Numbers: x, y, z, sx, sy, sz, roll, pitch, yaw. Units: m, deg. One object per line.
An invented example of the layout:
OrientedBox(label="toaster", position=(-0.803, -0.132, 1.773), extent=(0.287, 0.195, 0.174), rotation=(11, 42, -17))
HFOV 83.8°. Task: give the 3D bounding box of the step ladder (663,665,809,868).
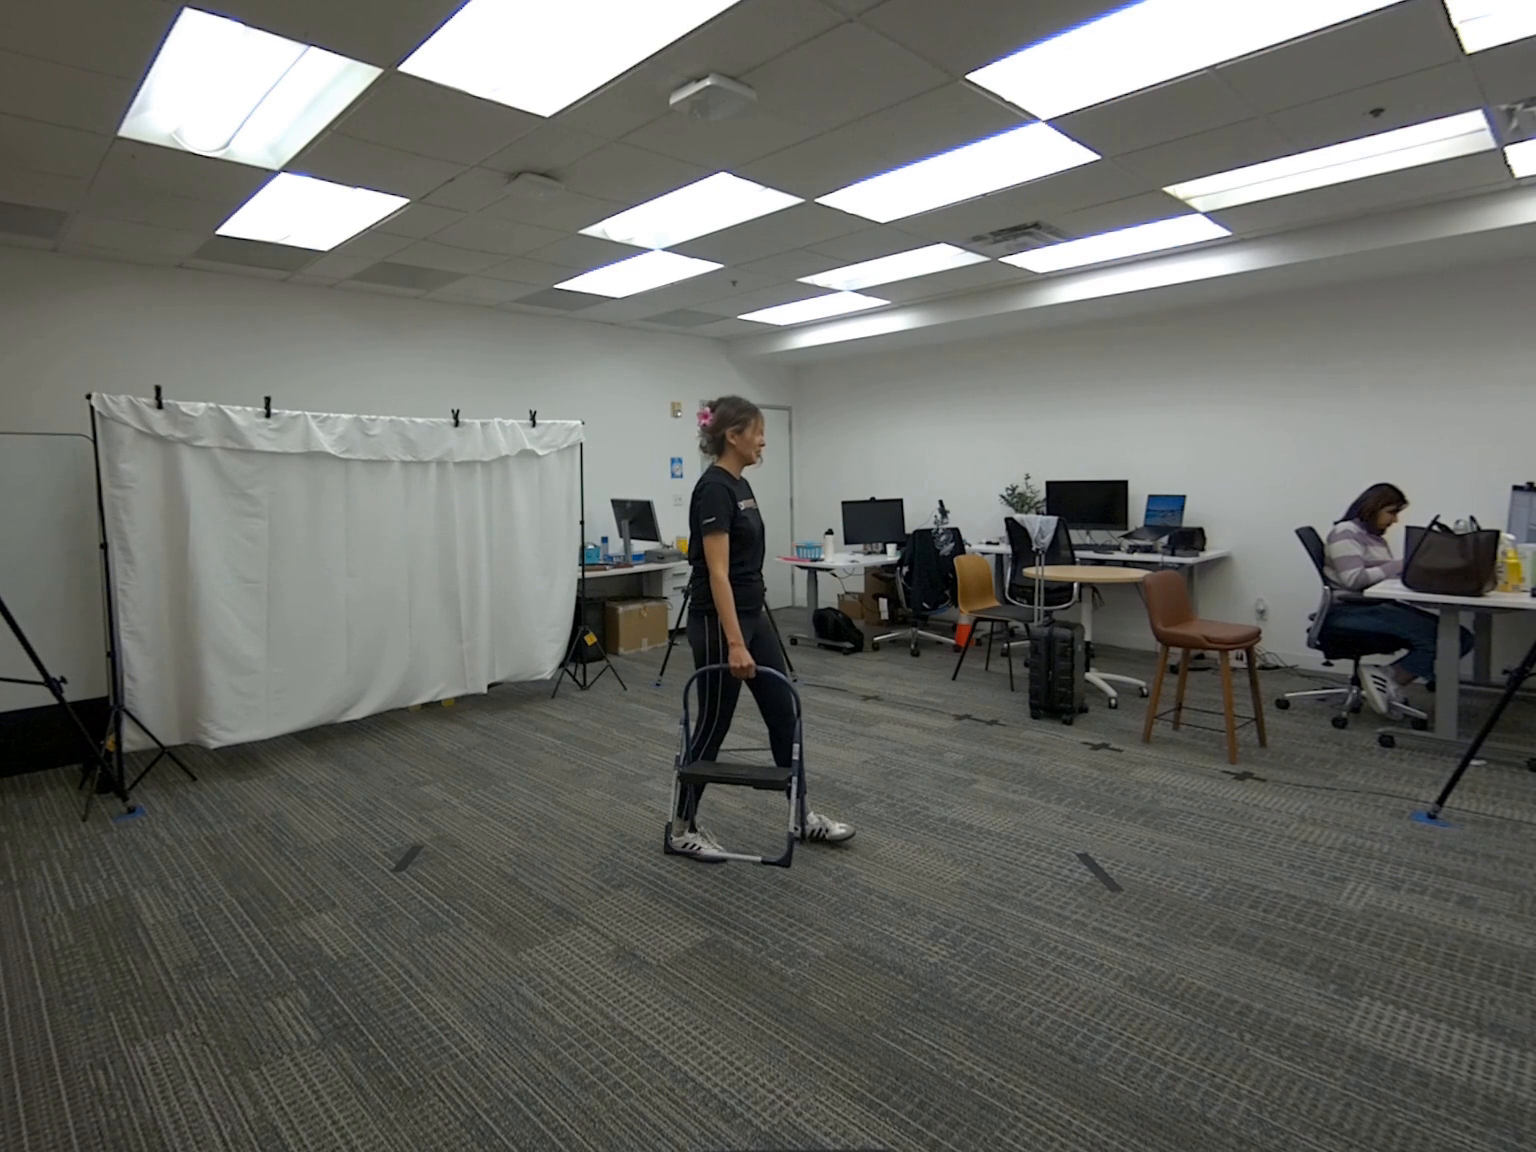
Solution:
OrientedBox(label="step ladder", position=(-0.094, 0.610, 2.856), extent=(0.436, 0.609, 0.343), rotation=(0, -5, 13))
